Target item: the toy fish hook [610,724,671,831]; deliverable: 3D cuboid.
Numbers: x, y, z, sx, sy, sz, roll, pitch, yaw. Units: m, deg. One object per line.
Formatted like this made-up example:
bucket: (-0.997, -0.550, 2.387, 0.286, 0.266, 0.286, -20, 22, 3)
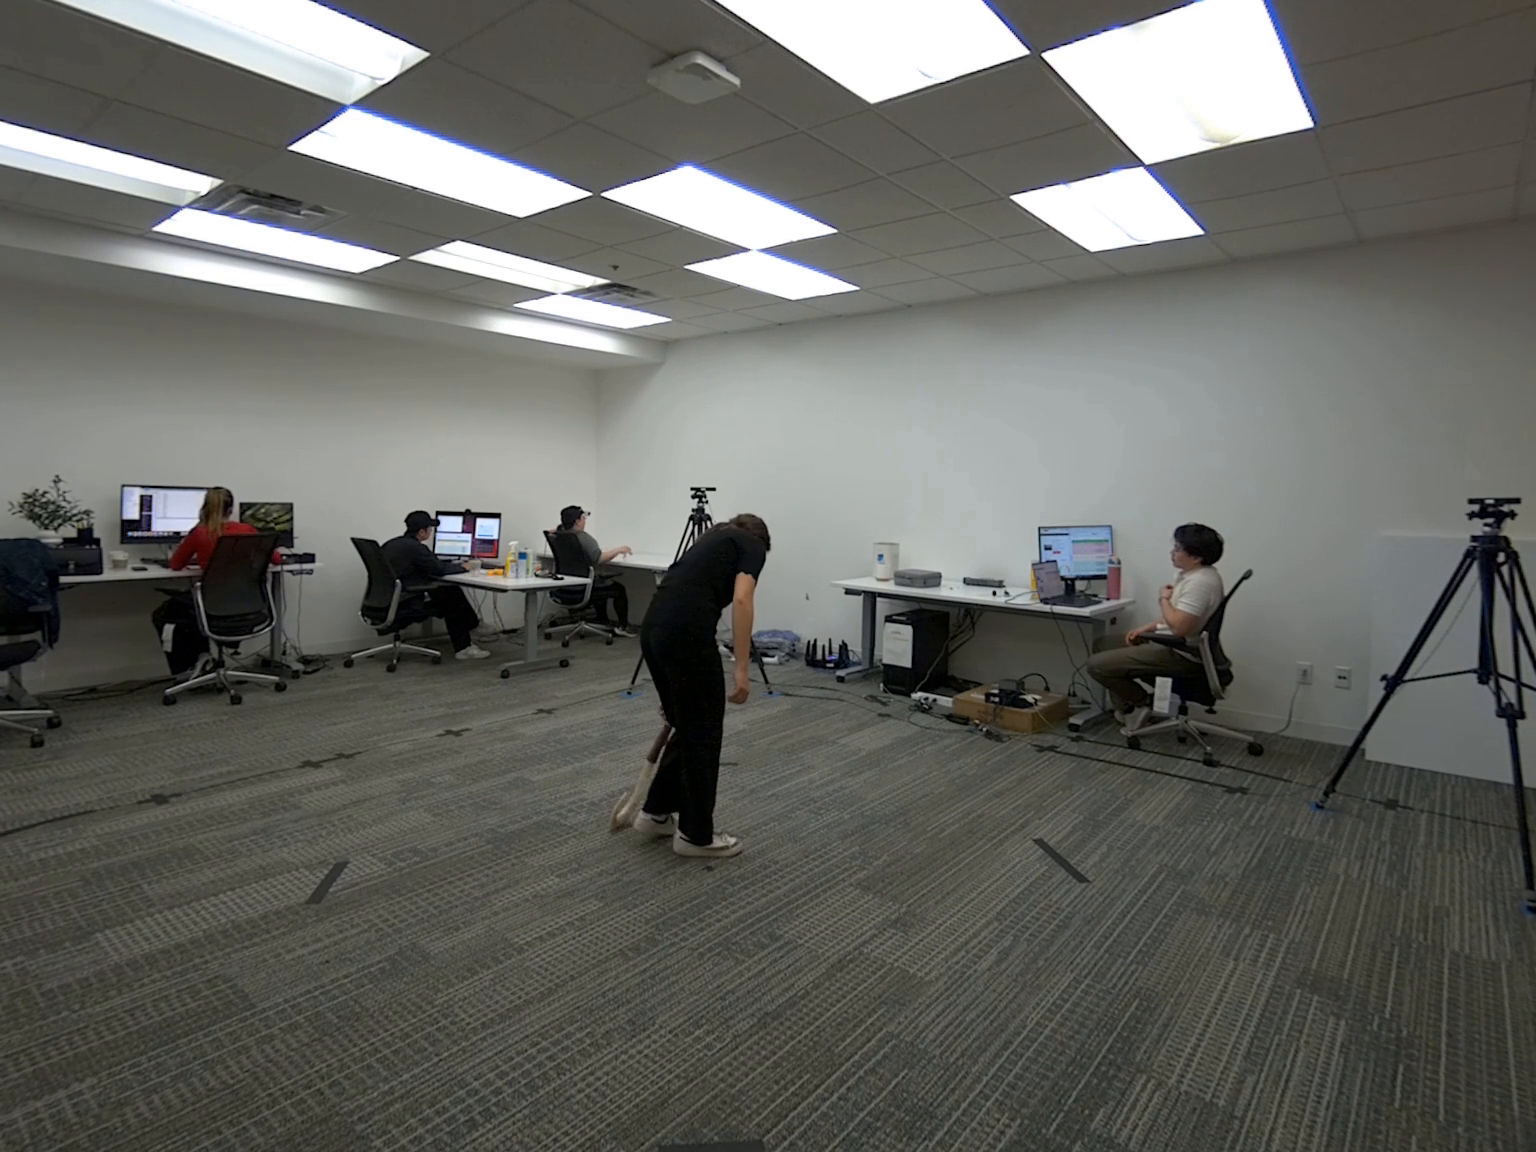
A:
toy fish hook: (-0.528, 0.803, 3.433, 0.049, 0.504, 0.221, 27, 9, 11)
